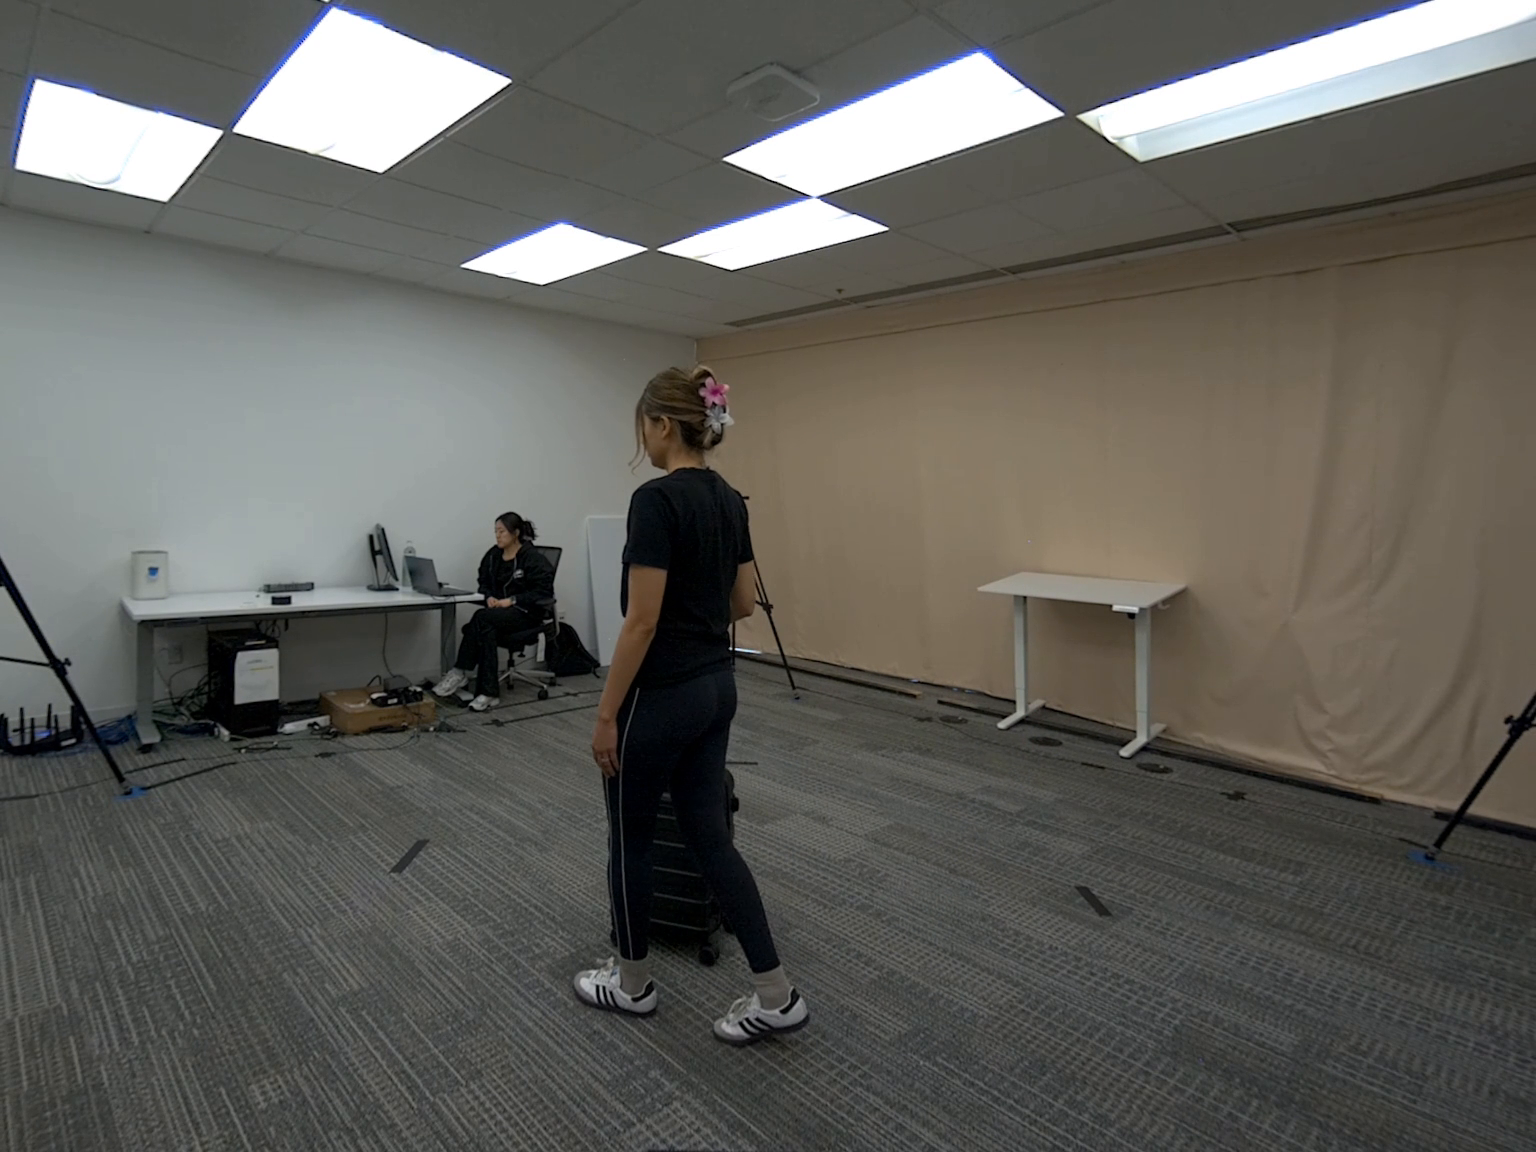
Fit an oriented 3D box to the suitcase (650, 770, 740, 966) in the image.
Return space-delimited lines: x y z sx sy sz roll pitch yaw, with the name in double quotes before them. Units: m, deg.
"suitcase" -0.301 0.671 2.651 0.390 0.978 0.253 1 1 19
